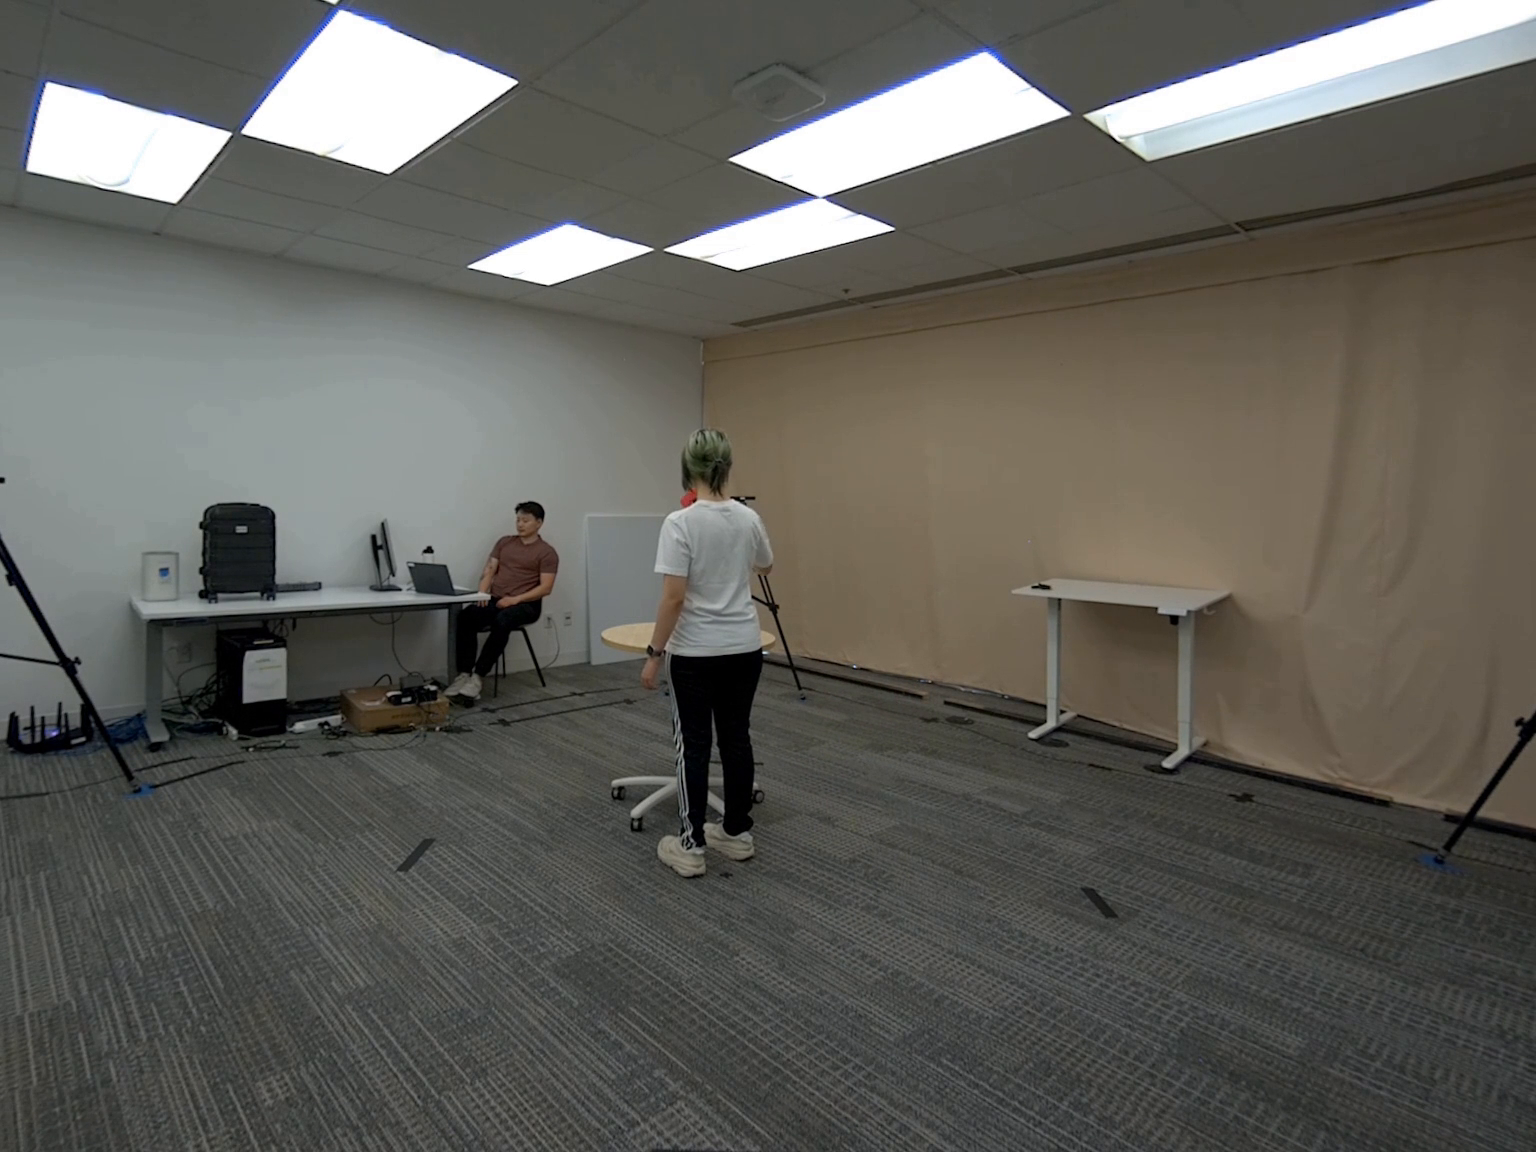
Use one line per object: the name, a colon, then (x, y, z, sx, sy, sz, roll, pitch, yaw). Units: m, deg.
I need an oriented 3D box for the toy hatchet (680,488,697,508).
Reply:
toy hatchet: (-0.301, -0.236, 3.519, 0.133, 0.270, 0.029, -14, -2, 28)
